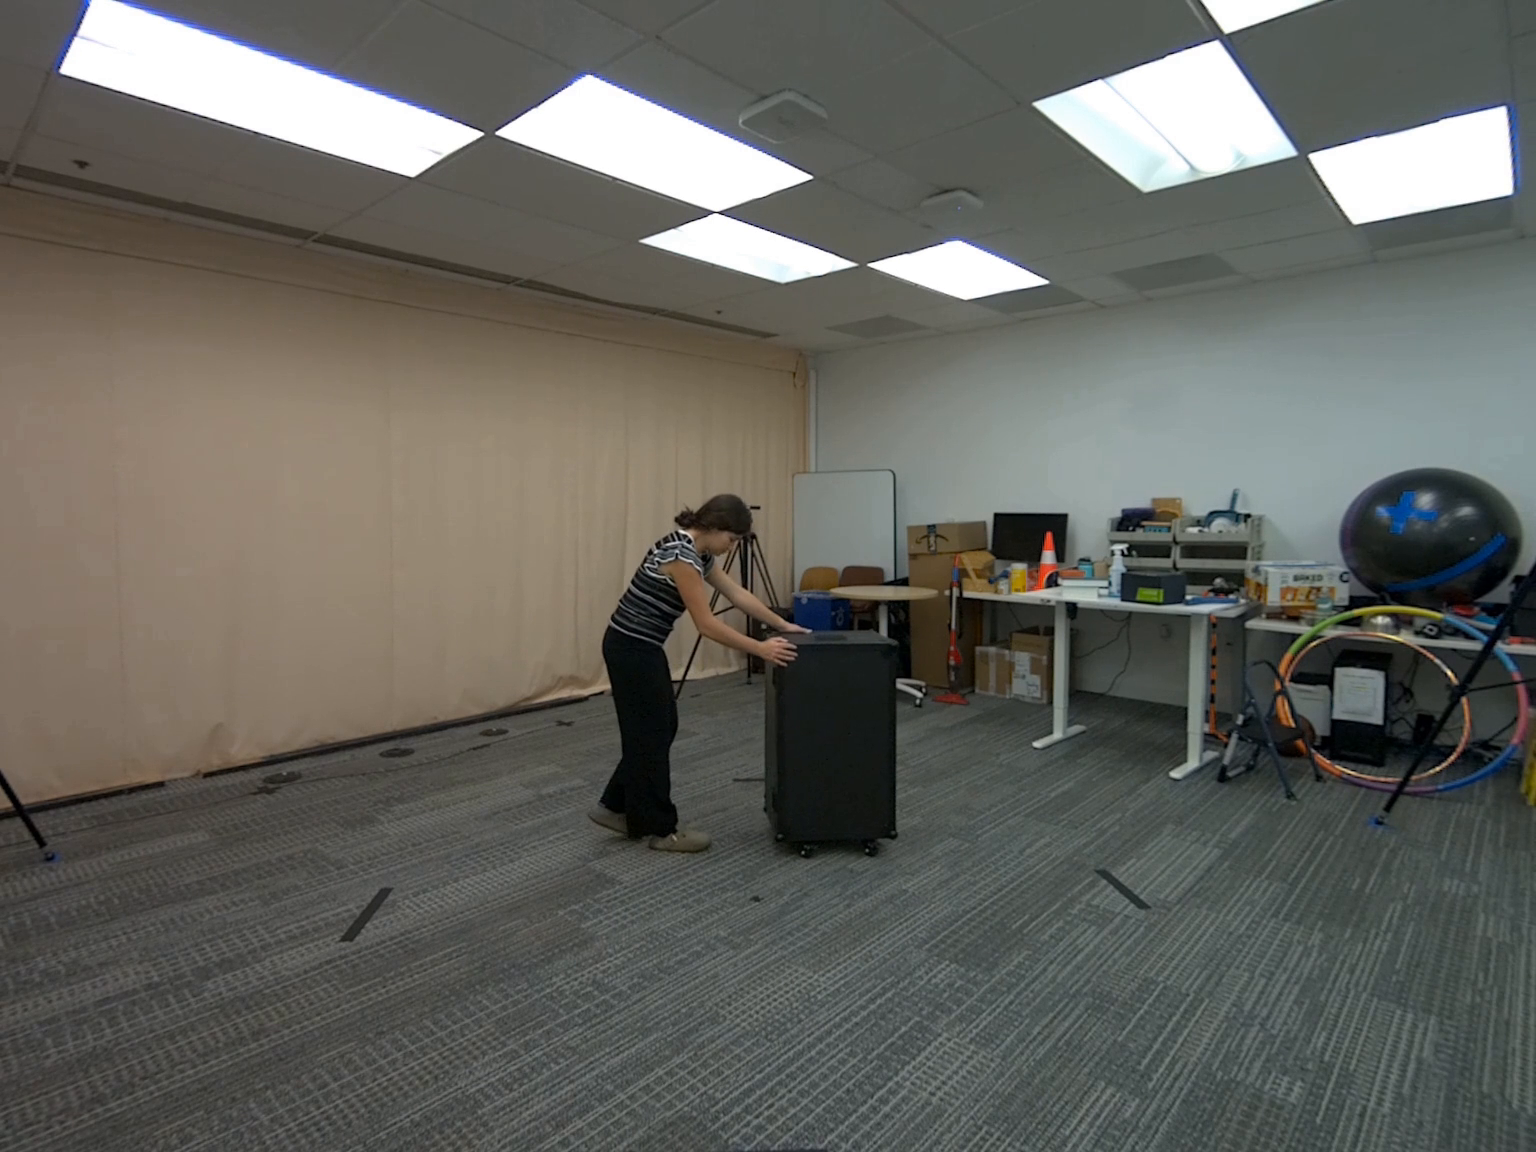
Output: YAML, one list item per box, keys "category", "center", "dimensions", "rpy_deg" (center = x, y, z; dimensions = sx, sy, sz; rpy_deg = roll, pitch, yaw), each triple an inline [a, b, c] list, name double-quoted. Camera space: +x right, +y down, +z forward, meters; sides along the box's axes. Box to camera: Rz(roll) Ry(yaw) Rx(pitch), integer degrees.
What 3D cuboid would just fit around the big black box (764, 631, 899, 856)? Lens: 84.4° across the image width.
- category: "big black box"
  center: [0.243, 0.683, 3.488]
  dimensions: [0.518, 0.860, 0.399]
  rpy_deg: [-1, 2, -6]
